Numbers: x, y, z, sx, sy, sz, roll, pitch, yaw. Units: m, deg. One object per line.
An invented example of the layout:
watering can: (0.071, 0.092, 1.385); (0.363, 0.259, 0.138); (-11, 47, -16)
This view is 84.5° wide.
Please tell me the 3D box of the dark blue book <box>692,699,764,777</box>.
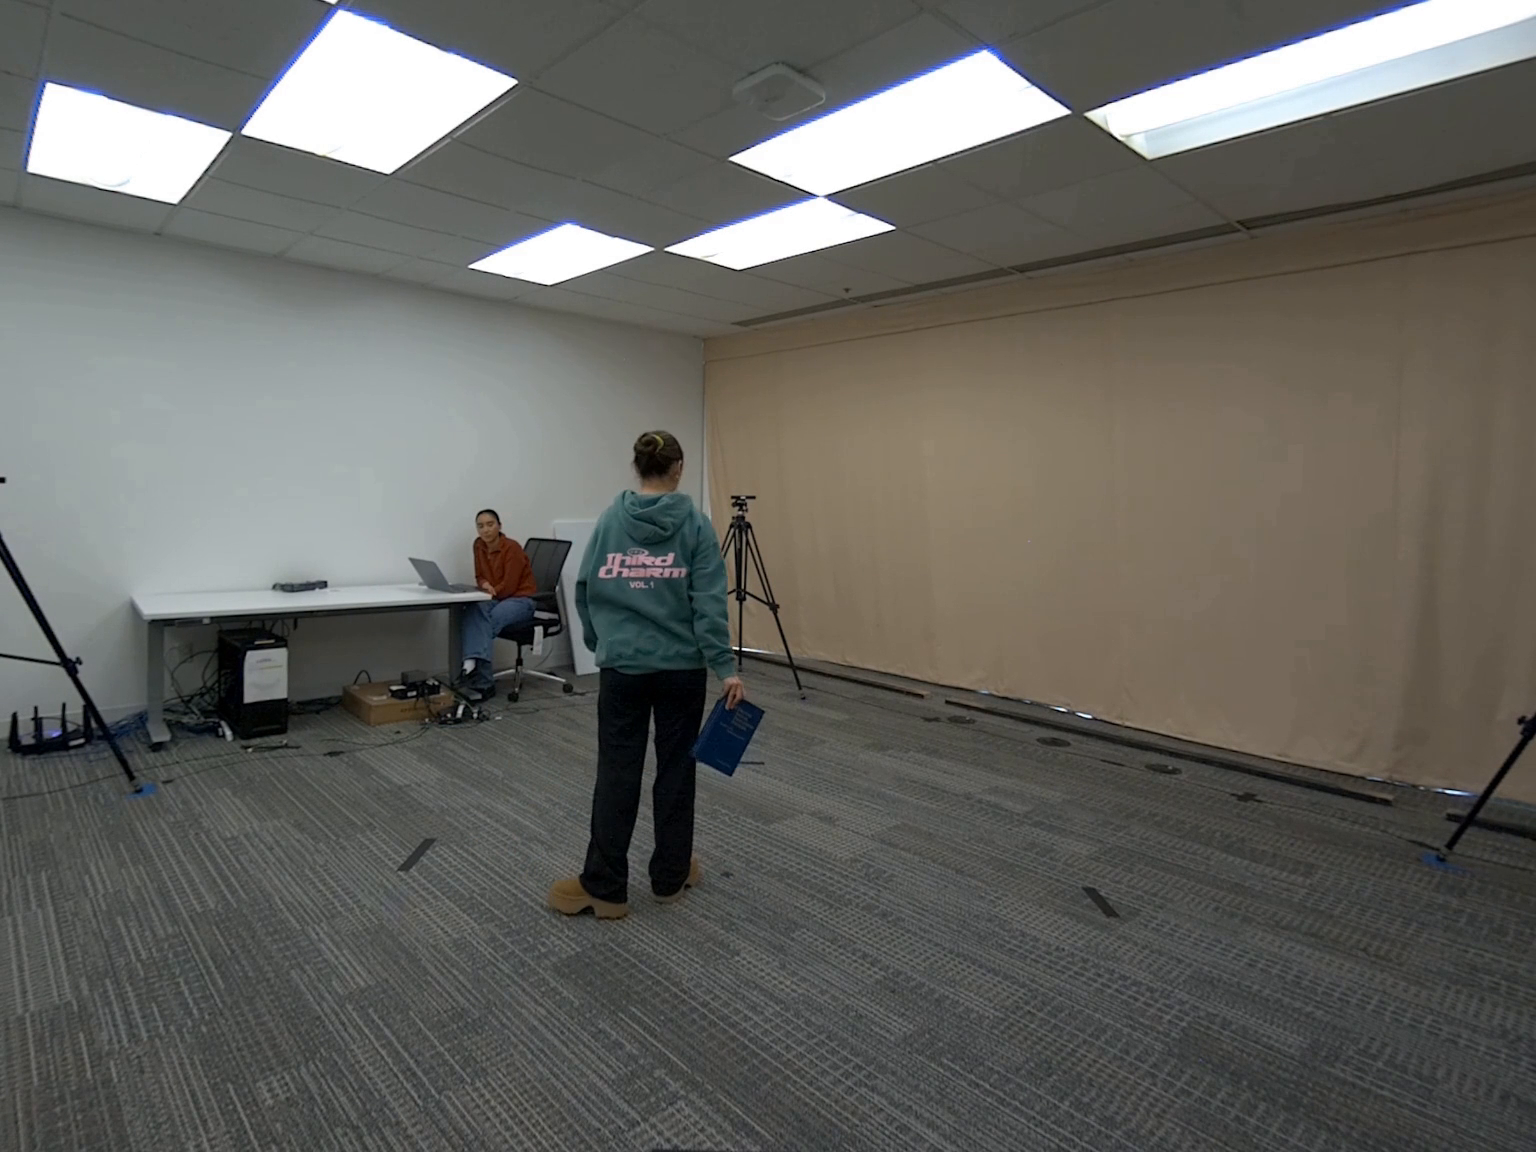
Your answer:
dark blue book: (-0.131, 0.514, 2.802); (0.160, 0.246, 0.046); (31, -9, -20)
